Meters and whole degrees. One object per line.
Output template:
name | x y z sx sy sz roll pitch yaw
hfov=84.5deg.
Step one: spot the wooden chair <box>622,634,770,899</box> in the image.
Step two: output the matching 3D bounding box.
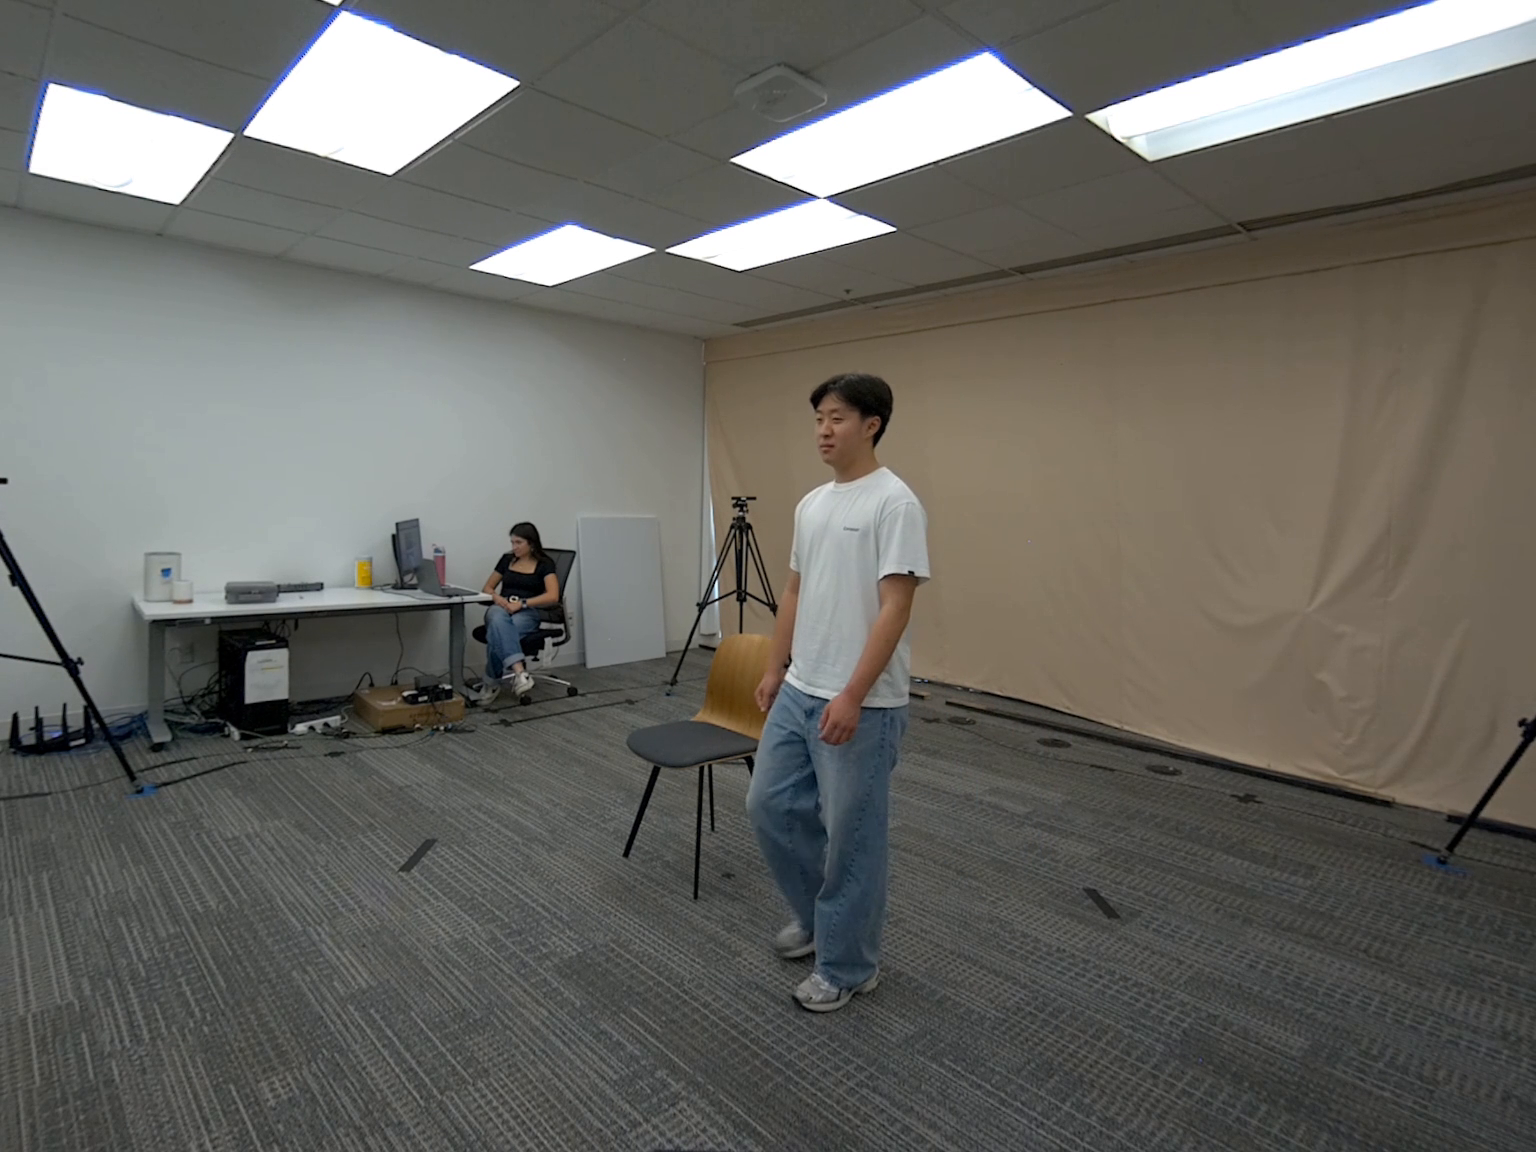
wooden chair | -0.243 0.670 3.187 0.510 0.877 0.490 4 1 -42
